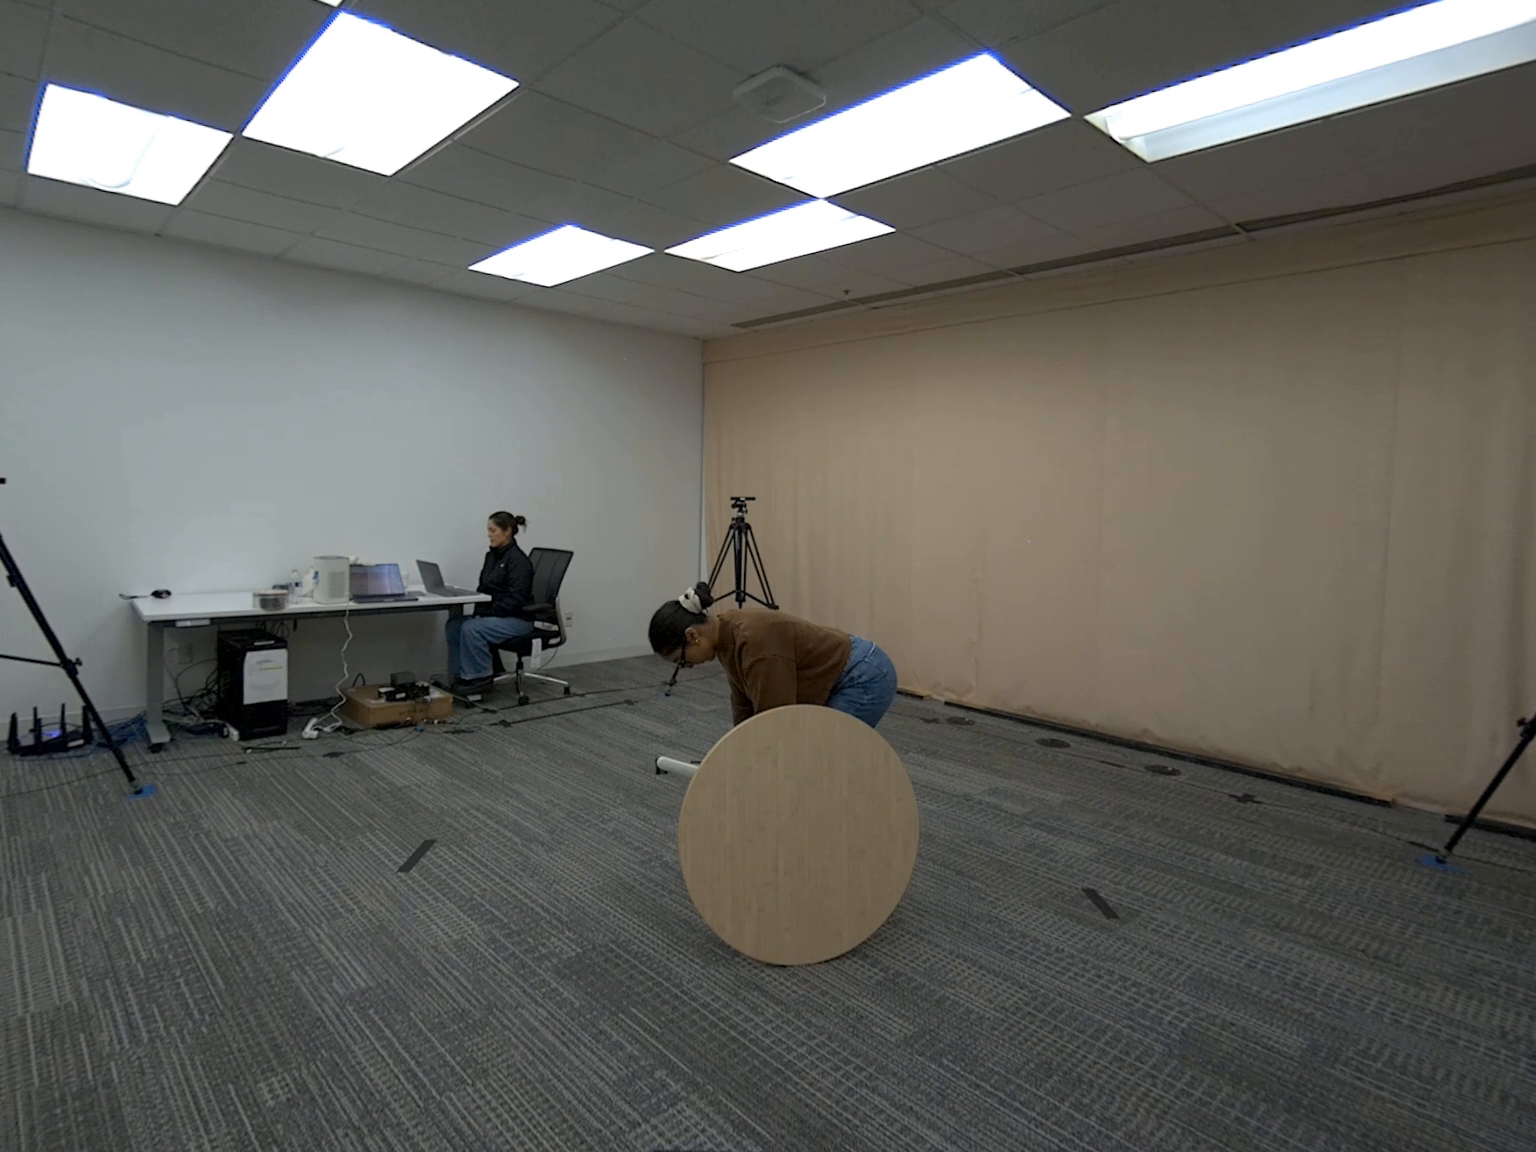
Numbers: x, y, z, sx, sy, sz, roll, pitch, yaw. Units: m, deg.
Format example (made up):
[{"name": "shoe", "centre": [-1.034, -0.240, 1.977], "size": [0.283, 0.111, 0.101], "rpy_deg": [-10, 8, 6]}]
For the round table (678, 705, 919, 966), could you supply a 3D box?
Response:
[{"name": "round table", "centre": [-0.005, 0.803, 2.939], "size": [0.755, 0.766, 0.800], "rpy_deg": [0, -3, -14]}]
